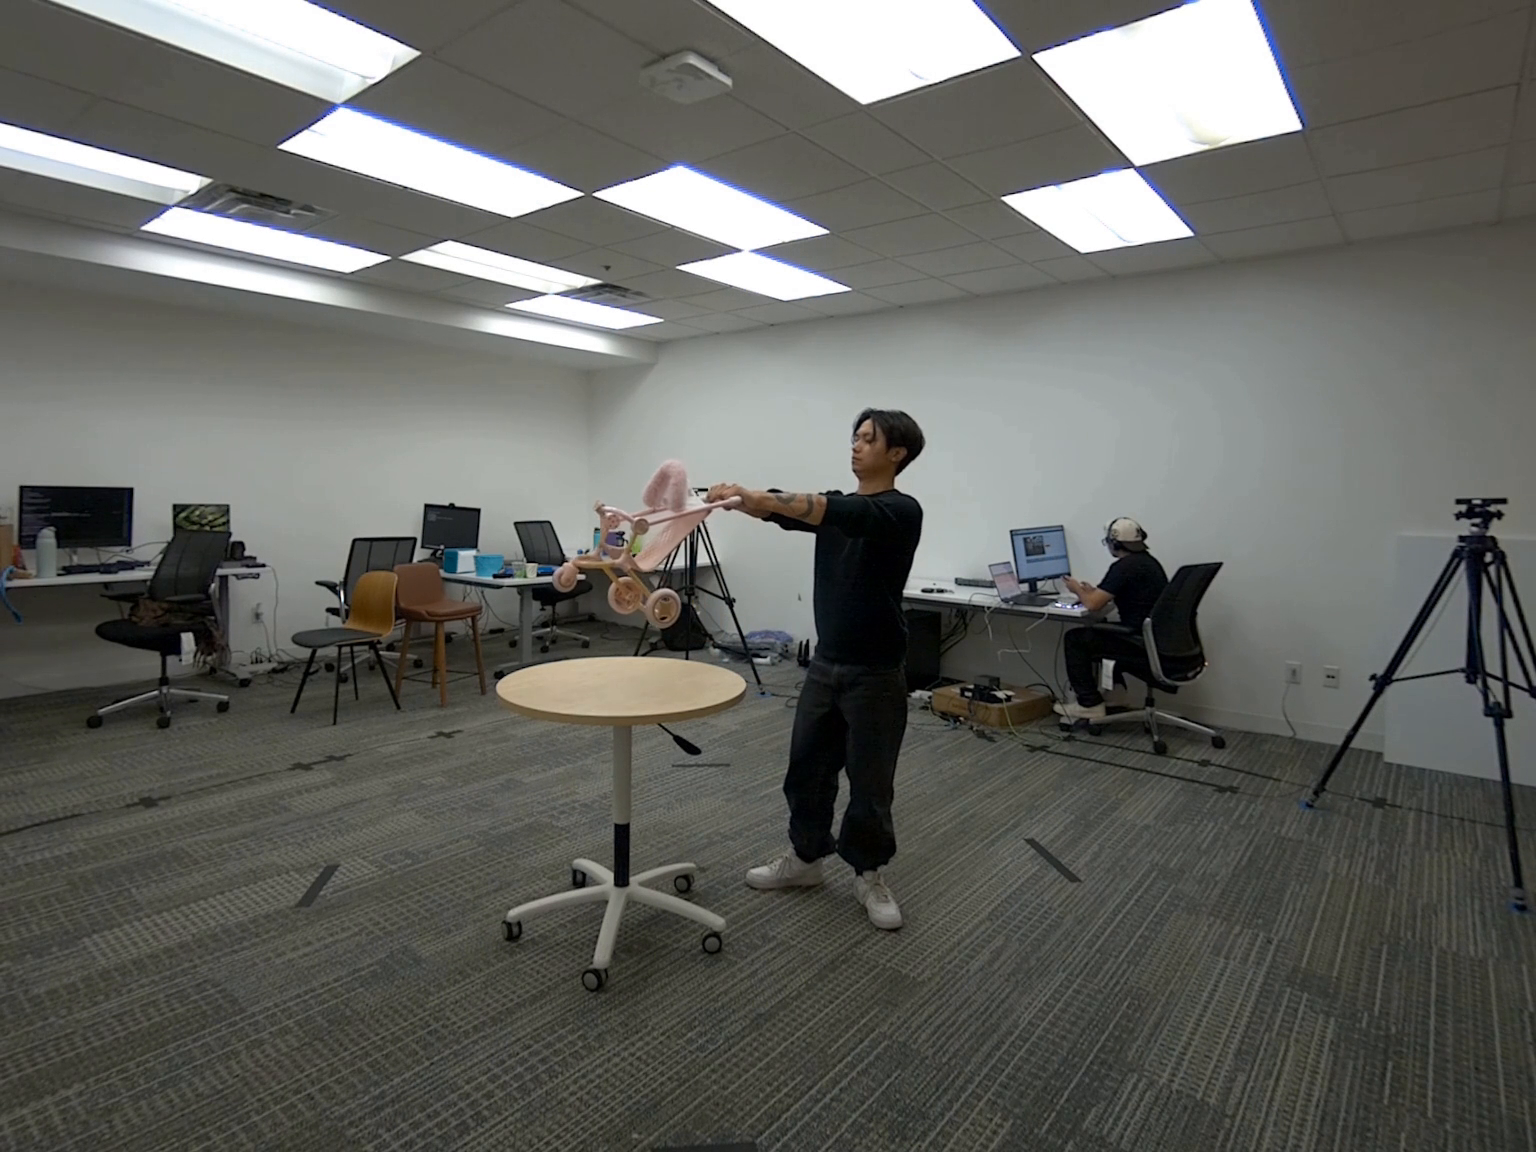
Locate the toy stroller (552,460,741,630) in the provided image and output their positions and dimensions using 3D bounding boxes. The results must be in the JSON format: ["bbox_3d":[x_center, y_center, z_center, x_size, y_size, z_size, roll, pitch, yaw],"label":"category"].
[{"bbox_3d":[-0.363,-0.113,2.451,0.330,0.536,0.290,38,-14,-26],"label":"toy stroller"}]
